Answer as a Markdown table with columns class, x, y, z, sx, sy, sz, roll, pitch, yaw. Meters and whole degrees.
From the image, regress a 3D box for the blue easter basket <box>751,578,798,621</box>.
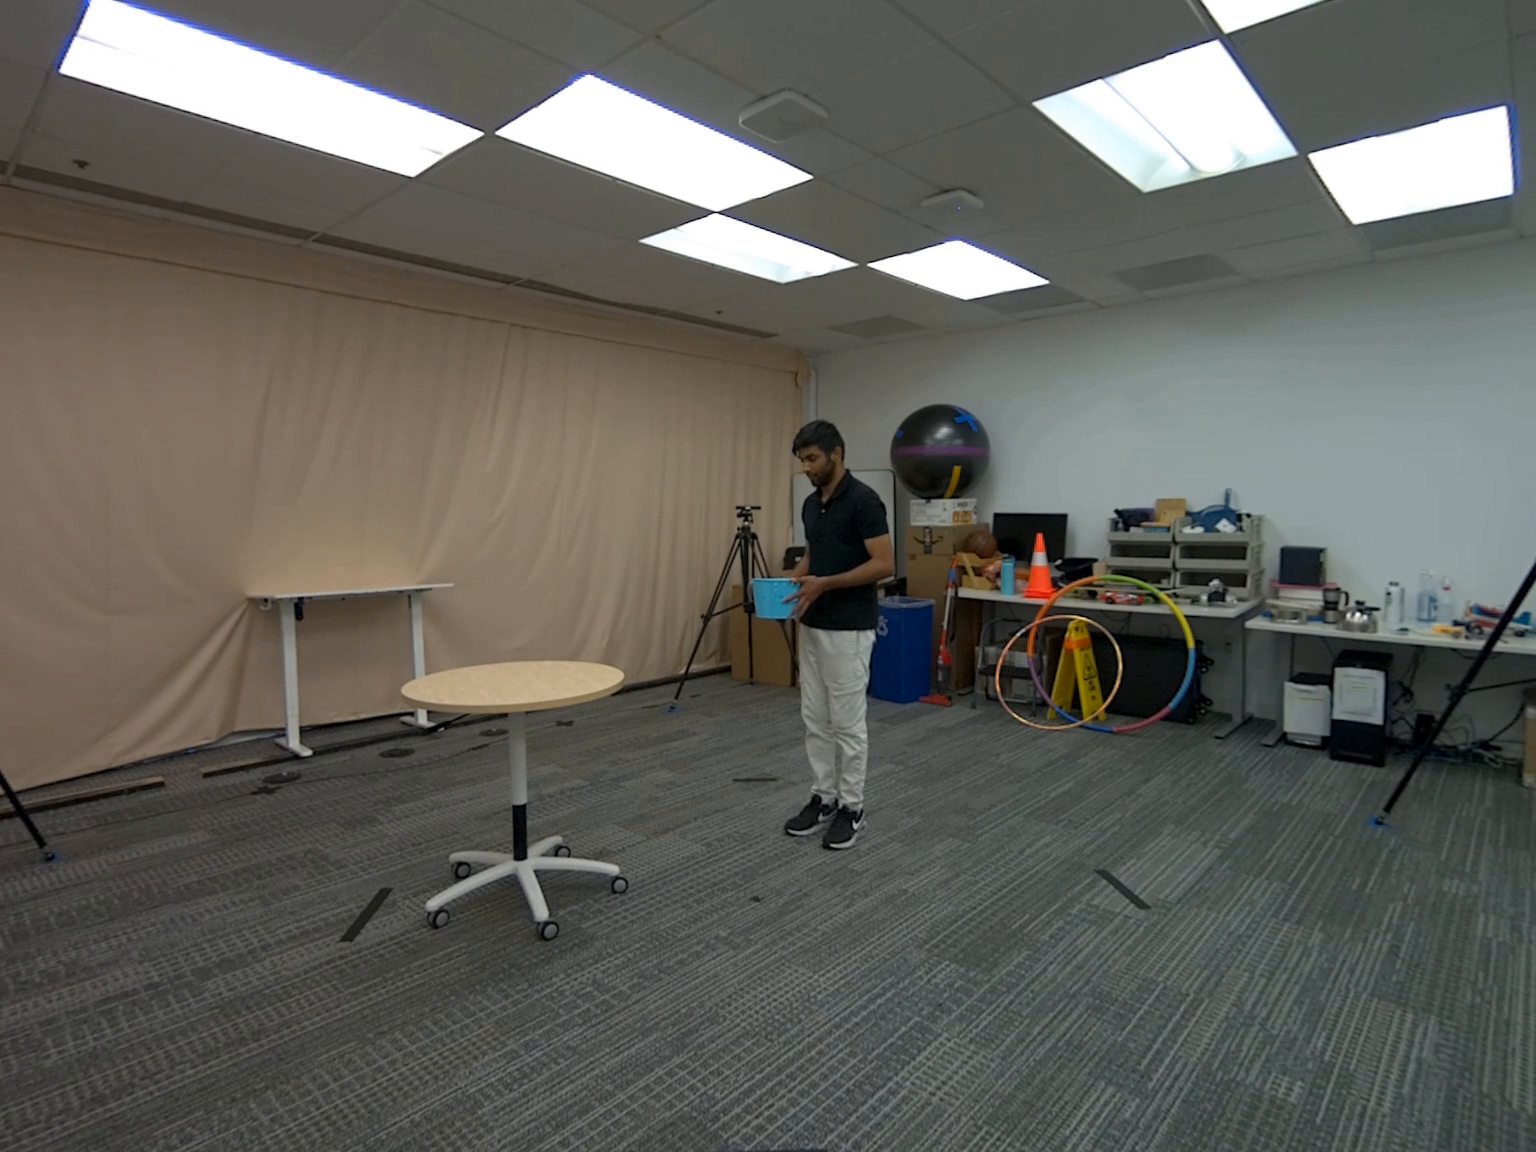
| class | x | y | z | sx | sy | sz | roll | pitch | yaw |
| --- | --- | --- | --- | --- | --- | --- | --- | --- | --- |
| blue easter basket | 0.053 | 0.093 | 3.446 | 0.243 | 0.156 | 0.244 | 2 | 1 | -2 |
